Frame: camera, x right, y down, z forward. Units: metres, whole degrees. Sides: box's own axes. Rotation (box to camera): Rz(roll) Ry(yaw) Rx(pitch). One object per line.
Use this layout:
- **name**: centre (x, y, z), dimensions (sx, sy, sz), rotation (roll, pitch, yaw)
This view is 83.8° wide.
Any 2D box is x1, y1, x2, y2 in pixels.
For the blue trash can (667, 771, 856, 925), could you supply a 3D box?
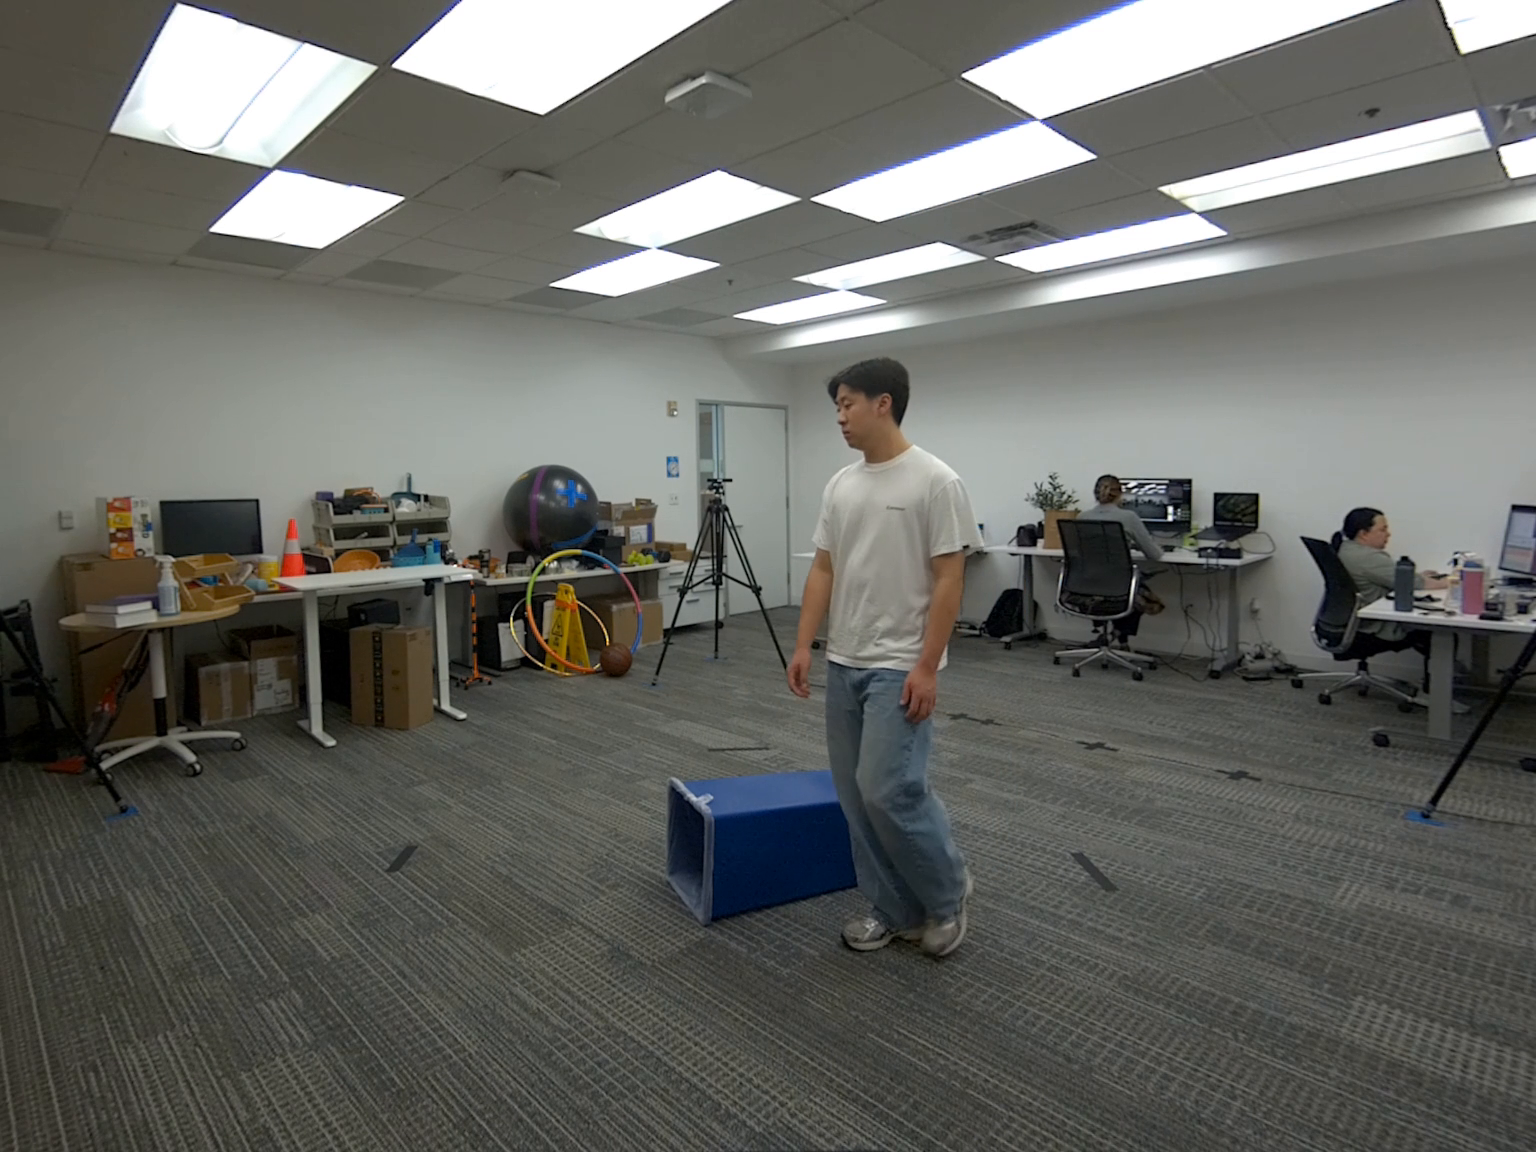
- **blue trash can**: centre (0.043, 0.896, 2.960), dimensions (0.698, 0.377, 0.383), rotation (-1, 4, -25)
